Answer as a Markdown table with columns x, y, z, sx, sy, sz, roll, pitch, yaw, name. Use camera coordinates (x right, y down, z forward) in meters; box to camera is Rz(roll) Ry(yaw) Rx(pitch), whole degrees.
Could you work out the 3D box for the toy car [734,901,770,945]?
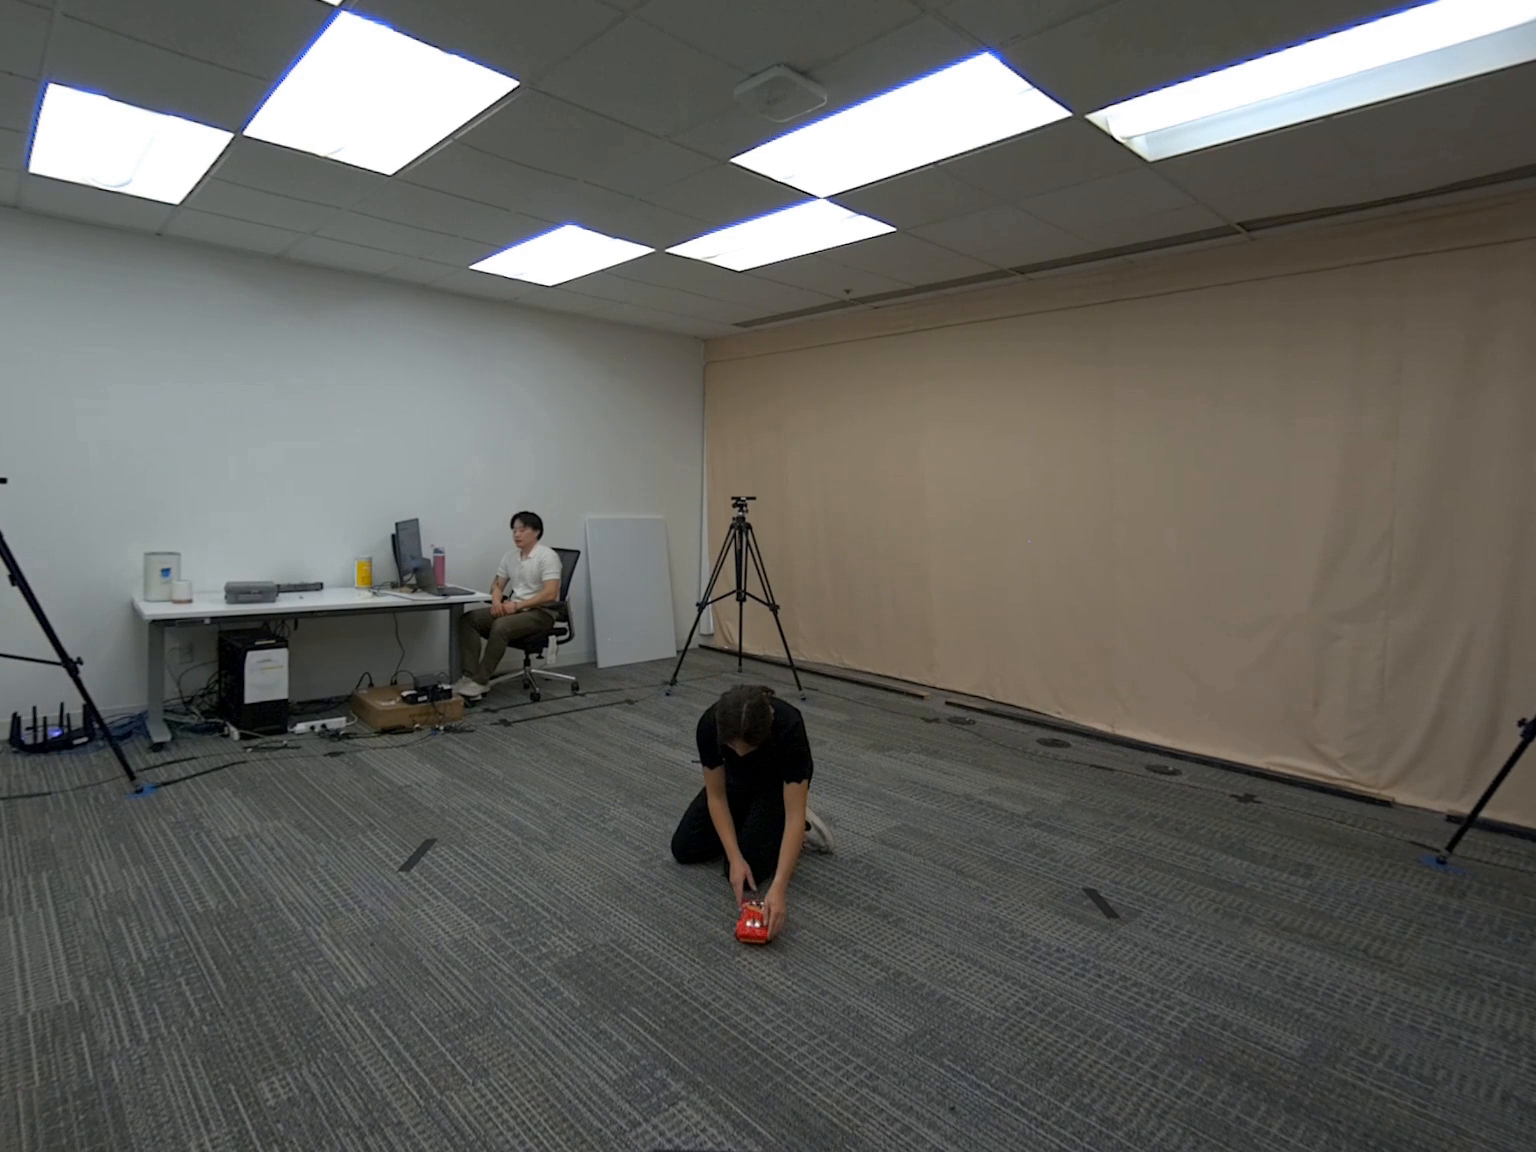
| x | y | z | sx | sy | sz | roll | pitch | yaw | name |
| --- | --- | --- | --- | --- | --- | --- | --- | --- | --- |
| -0.054 | 1.114 | 2.700 | 0.131 | 0.083 | 0.252 | 2 | -5 | 6 | toy car |
